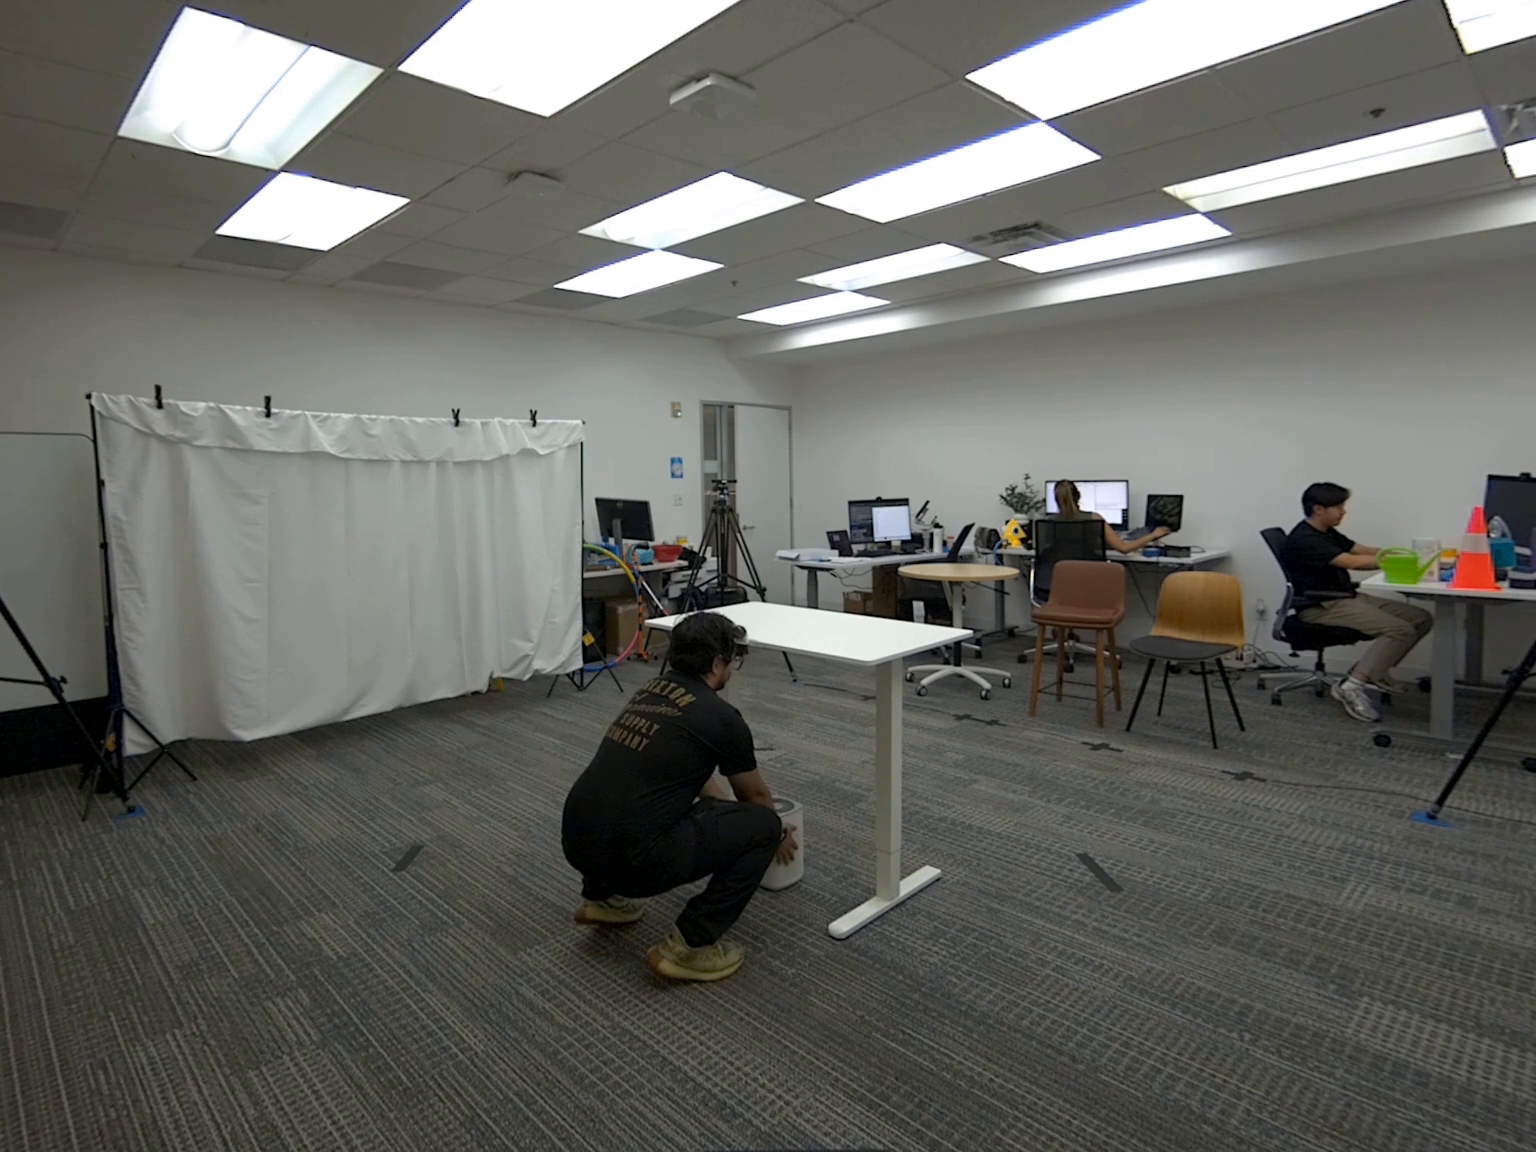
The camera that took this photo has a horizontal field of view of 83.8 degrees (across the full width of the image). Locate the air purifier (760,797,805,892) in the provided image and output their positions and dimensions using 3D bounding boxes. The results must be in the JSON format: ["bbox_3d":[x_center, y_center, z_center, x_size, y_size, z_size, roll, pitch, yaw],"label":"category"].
[{"bbox_3d":[0.026,0.928,2.973,0.167,0.265,0.176,-4,5,-44],"label":"air purifier"}]
